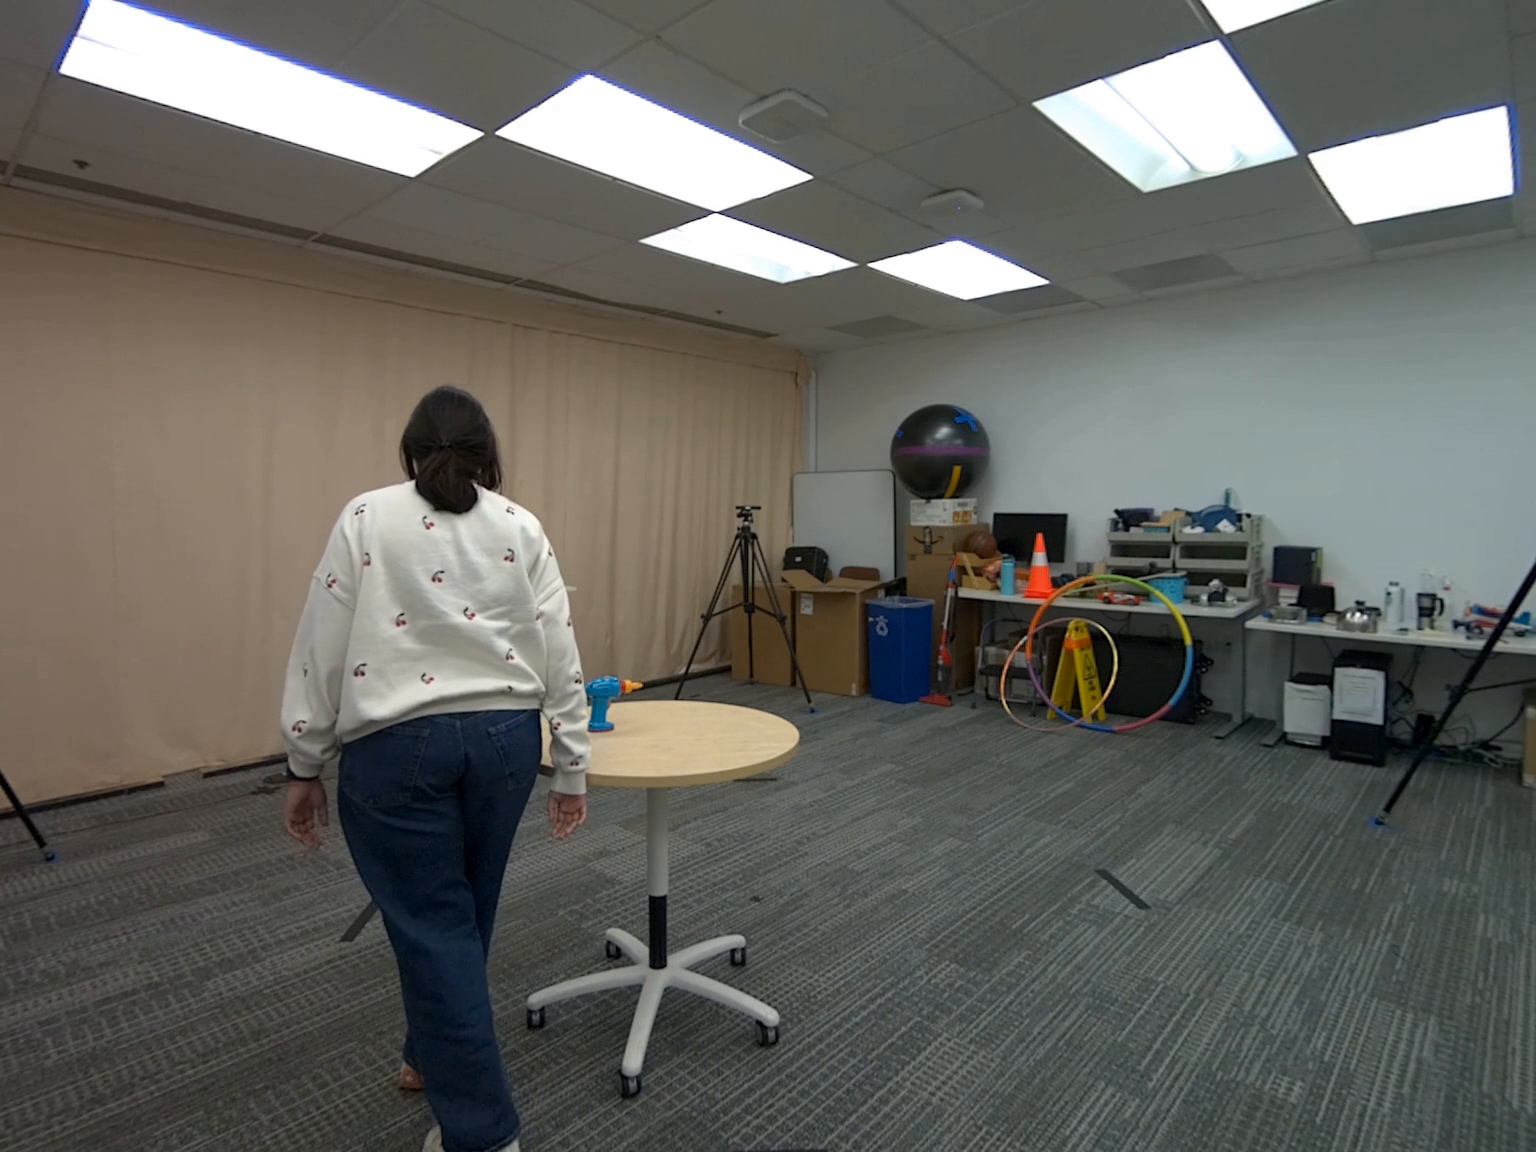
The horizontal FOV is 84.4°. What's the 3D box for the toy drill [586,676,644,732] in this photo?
[{"bbox_3d":[-0.425,0.349,2.300,0.166,0.146,0.062,-2,3,-23],"label":"toy drill"}]
